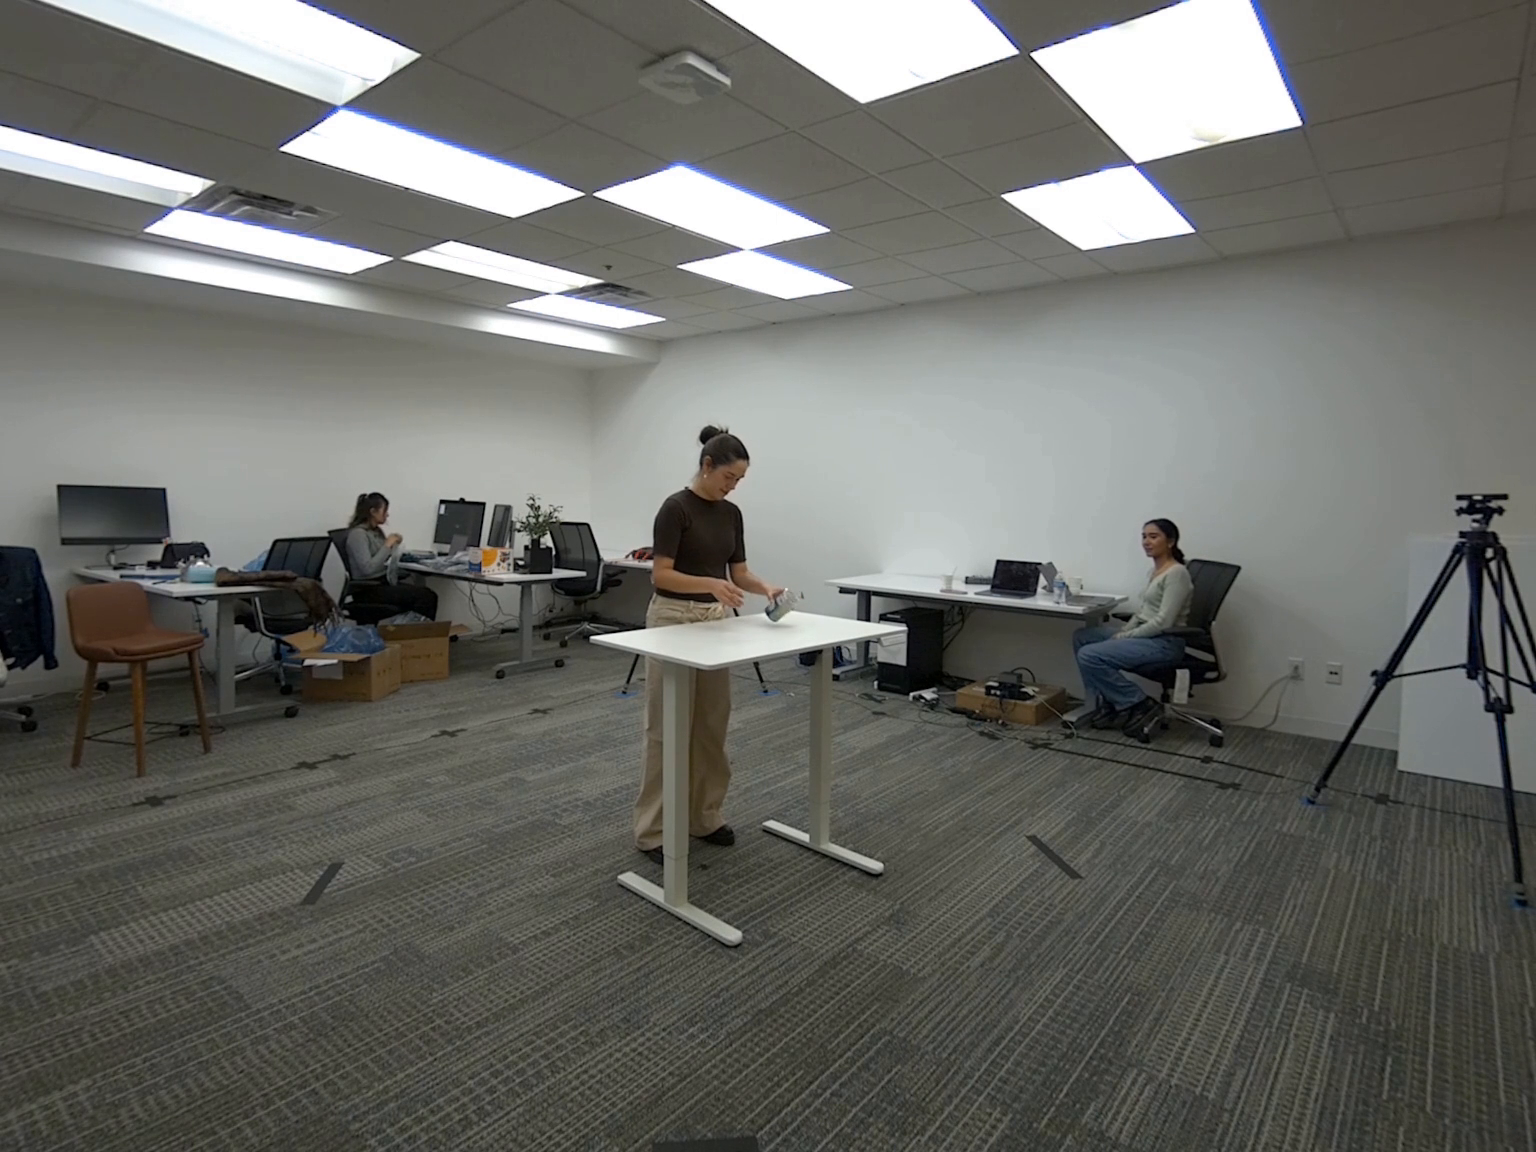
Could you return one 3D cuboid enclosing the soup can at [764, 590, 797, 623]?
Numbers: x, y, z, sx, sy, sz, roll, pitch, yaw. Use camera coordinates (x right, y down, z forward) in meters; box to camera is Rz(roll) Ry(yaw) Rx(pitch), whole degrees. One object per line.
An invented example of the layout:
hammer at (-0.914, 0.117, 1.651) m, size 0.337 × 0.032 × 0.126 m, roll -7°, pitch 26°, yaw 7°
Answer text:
soup can at (0.037, 0.116, 3.124) m, size 0.123 × 0.068 × 0.065 m, roll -29°, pitch -14°, yaw 33°
